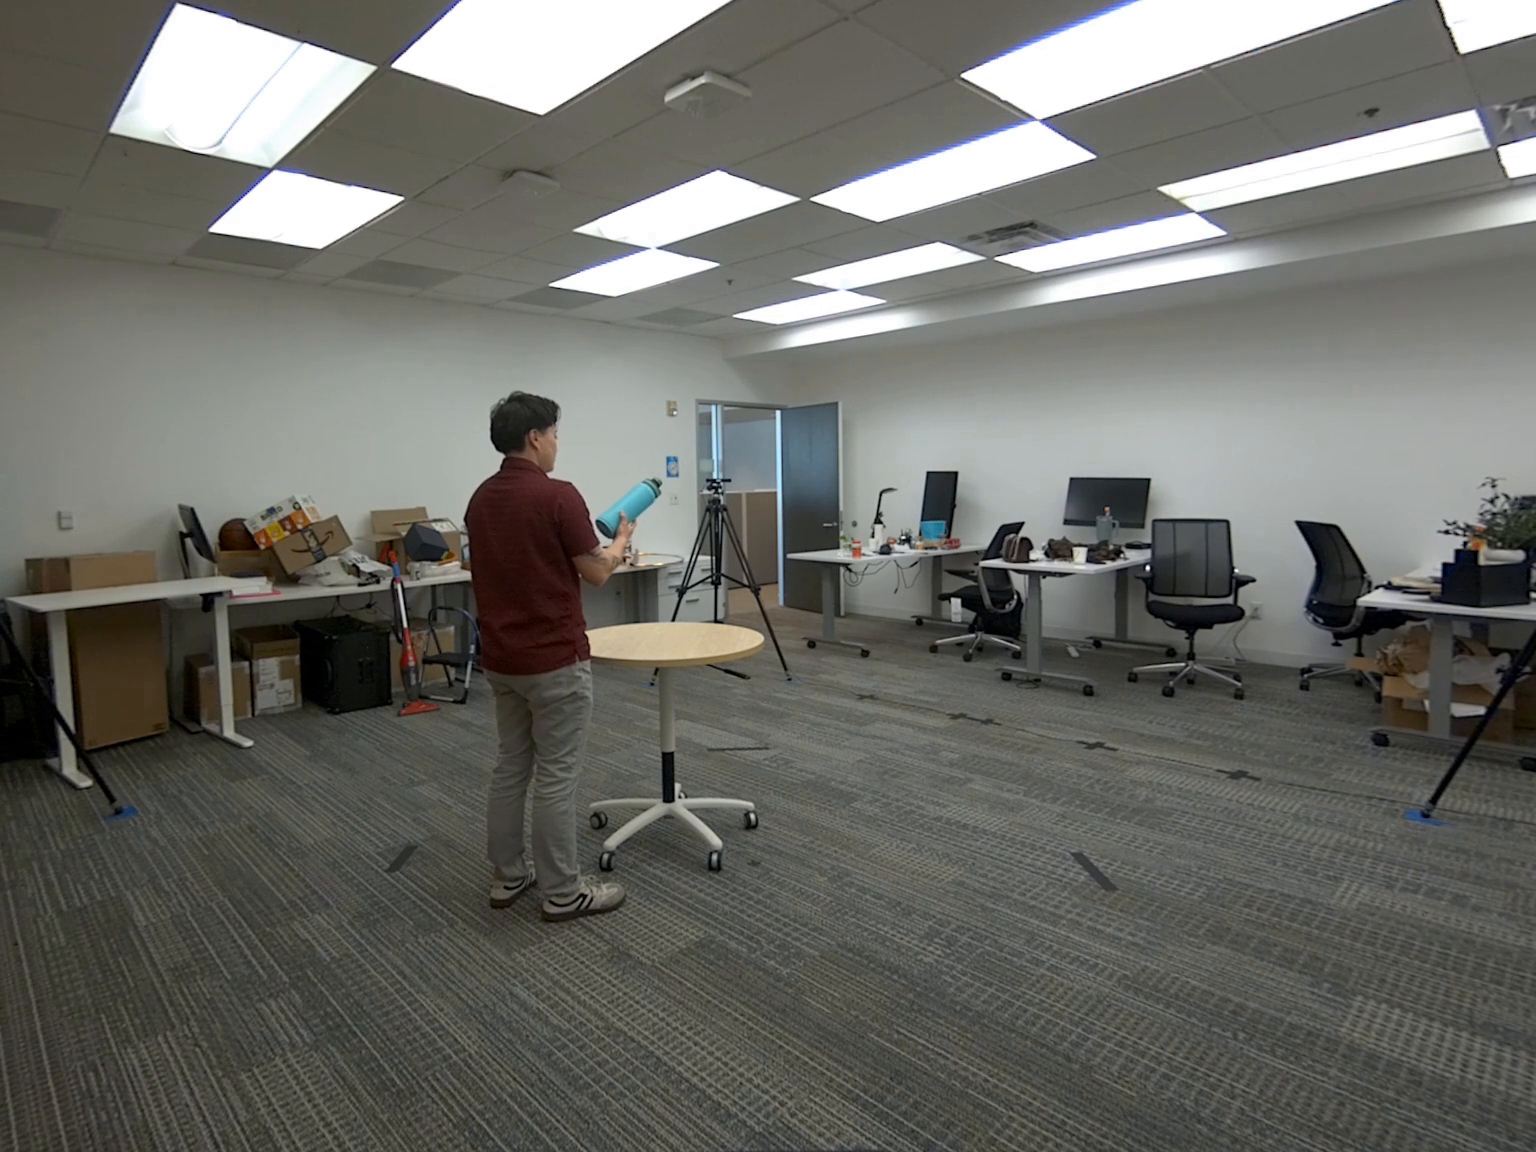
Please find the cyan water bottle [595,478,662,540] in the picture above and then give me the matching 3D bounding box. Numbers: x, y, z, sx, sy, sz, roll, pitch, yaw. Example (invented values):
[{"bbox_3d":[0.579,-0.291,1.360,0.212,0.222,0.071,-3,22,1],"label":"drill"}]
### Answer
[{"bbox_3d":[-0.491,-0.251,3.067,0.095,0.090,0.283,5,44,51],"label":"cyan water bottle"}]
